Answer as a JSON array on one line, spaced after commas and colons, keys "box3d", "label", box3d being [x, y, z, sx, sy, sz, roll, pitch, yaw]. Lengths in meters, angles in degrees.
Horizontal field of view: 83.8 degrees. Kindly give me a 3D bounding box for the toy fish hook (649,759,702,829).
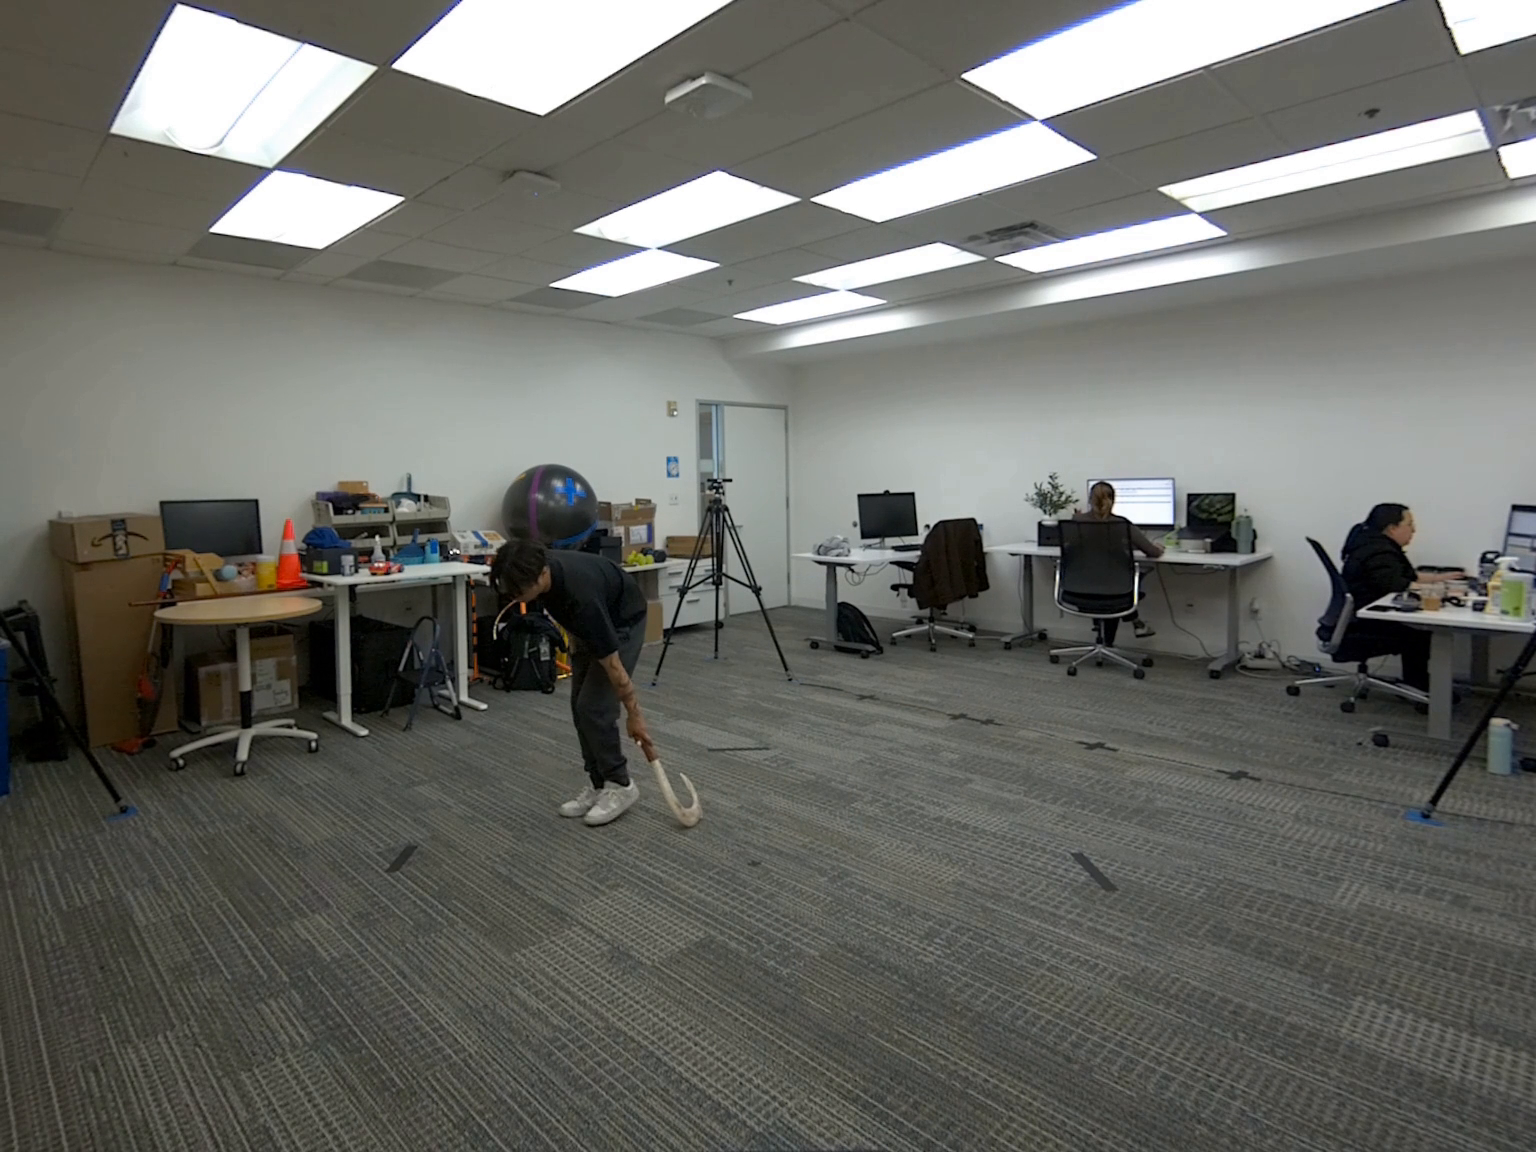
[{"box3d": [-0.420, 0.790, 3.520, 0.048, 0.511, 0.222, -34, -6, 14], "label": "toy fish hook"}]
